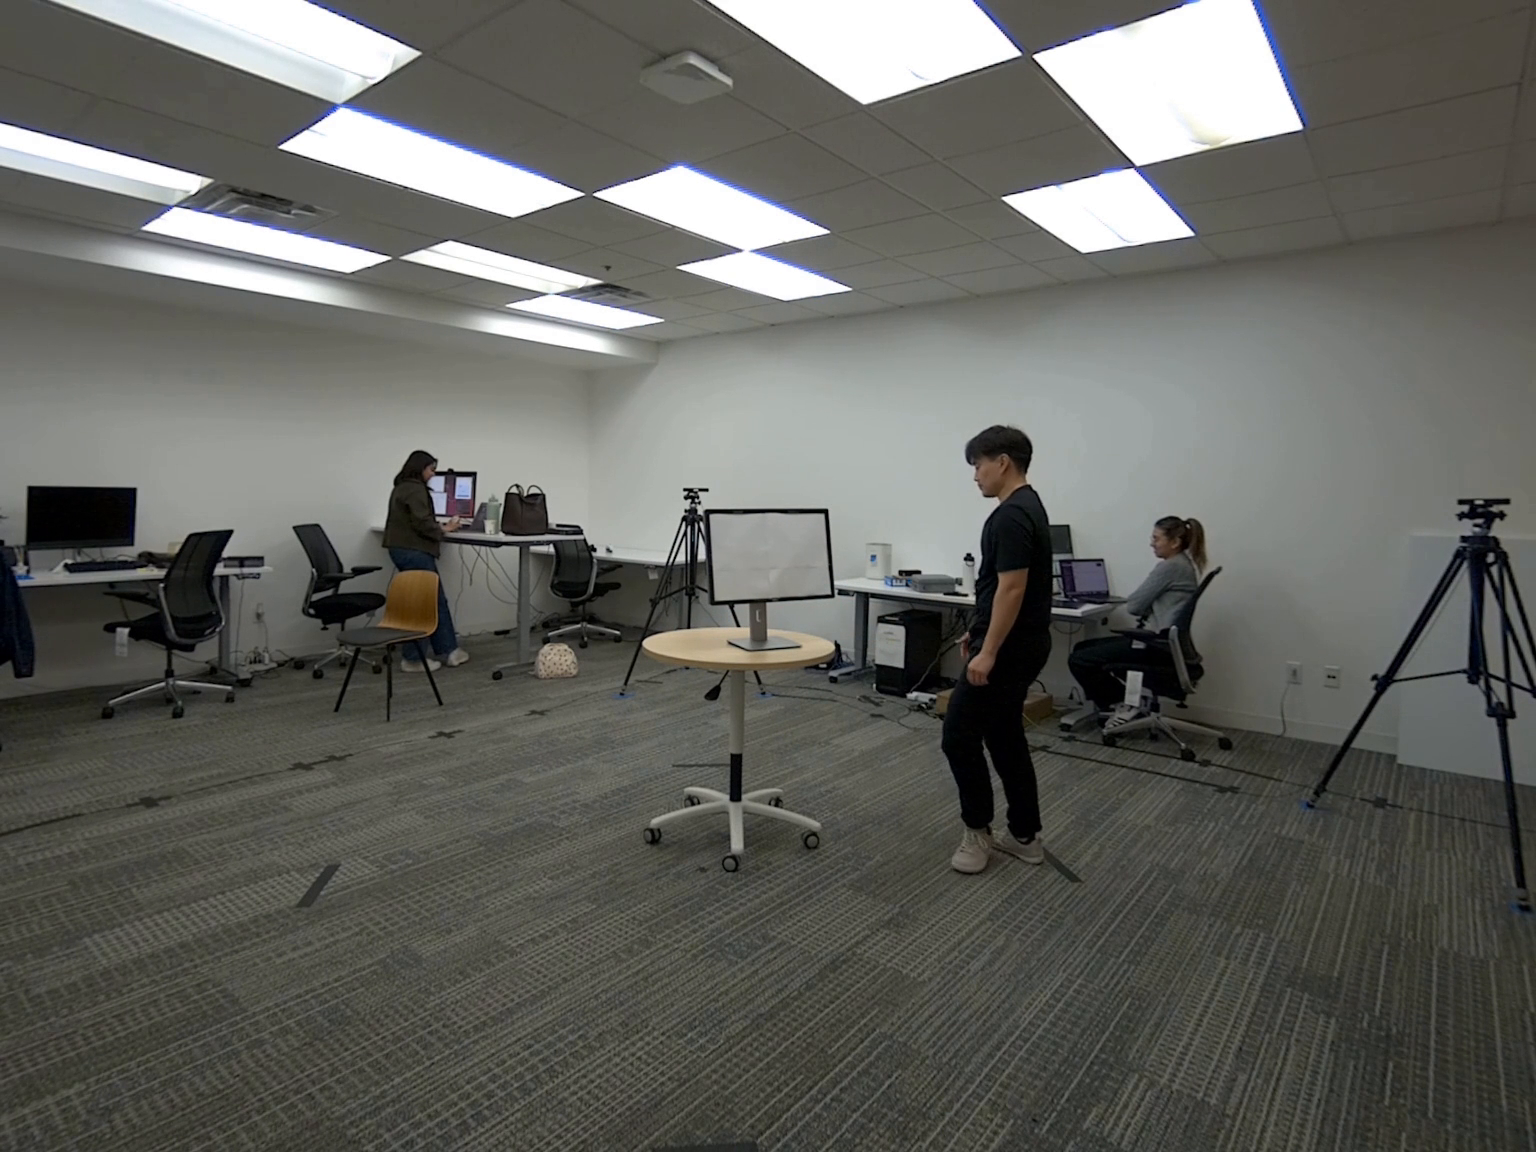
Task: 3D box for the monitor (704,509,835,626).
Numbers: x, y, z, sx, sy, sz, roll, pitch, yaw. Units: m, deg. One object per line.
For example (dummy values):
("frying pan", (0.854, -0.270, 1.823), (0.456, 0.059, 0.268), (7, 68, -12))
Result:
("monitor", (-0.021, 0.007, 3.360), (0.525, 0.520, 0.193), (-2, 6, -28))
